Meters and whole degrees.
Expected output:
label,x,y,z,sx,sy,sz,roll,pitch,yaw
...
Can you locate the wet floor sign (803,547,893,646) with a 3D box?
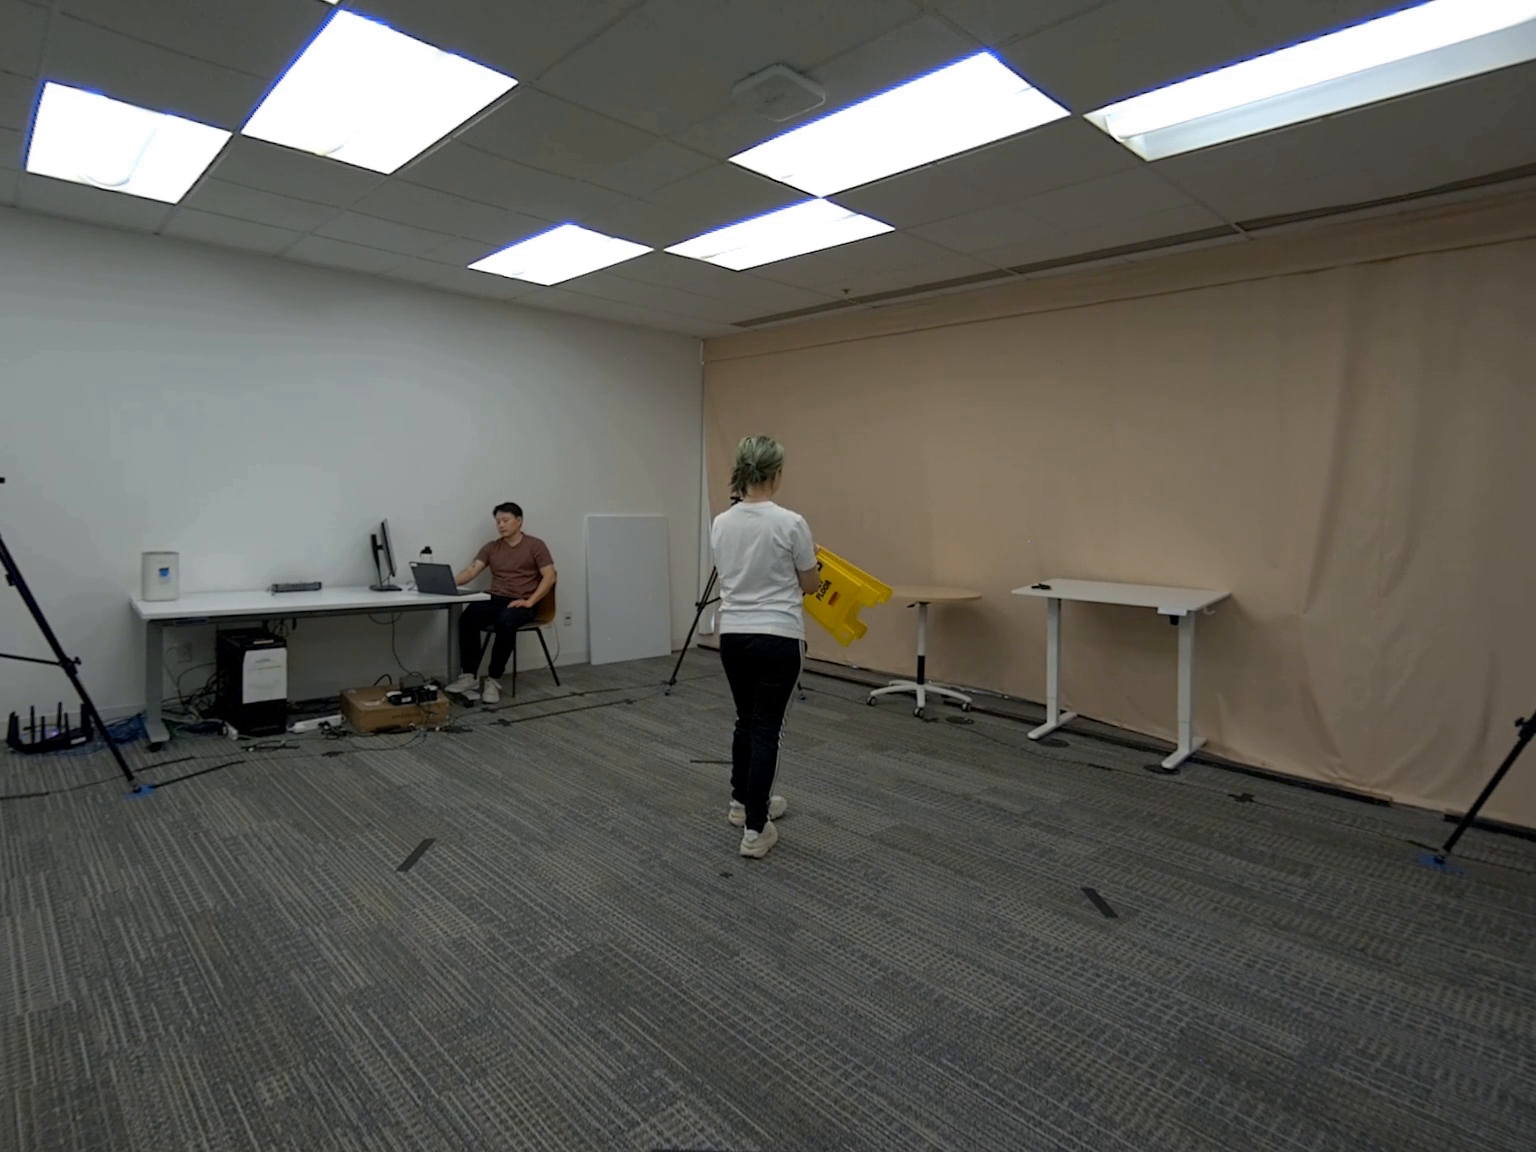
label,x,y,z,sx,sy,sz,roll,pitch,yaw
wet floor sign,0.176,-0.001,3.731,0.659,0.281,0.285,38,16,18
